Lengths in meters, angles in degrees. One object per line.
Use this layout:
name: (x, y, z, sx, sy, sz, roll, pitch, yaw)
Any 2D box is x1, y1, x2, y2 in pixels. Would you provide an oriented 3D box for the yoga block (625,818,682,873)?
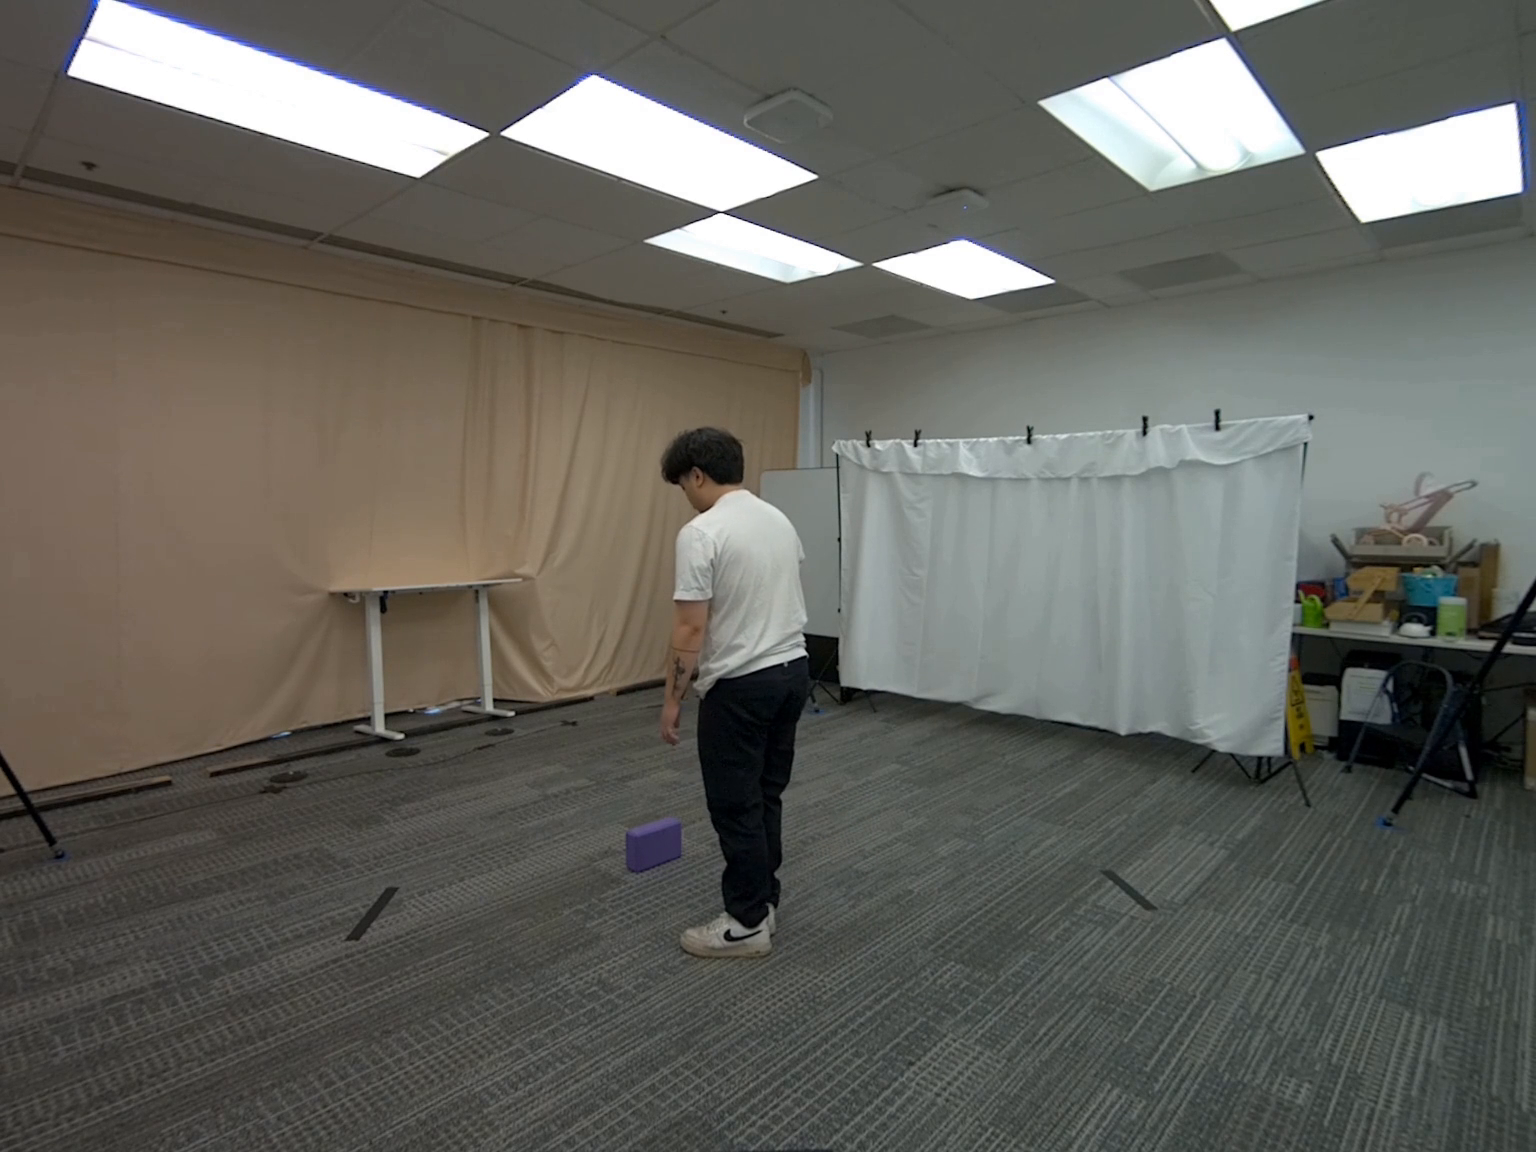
yoga block: (-0.446, 1.048, 3.292, 0.222, 0.149, 0.079, -4, 4, -43)
